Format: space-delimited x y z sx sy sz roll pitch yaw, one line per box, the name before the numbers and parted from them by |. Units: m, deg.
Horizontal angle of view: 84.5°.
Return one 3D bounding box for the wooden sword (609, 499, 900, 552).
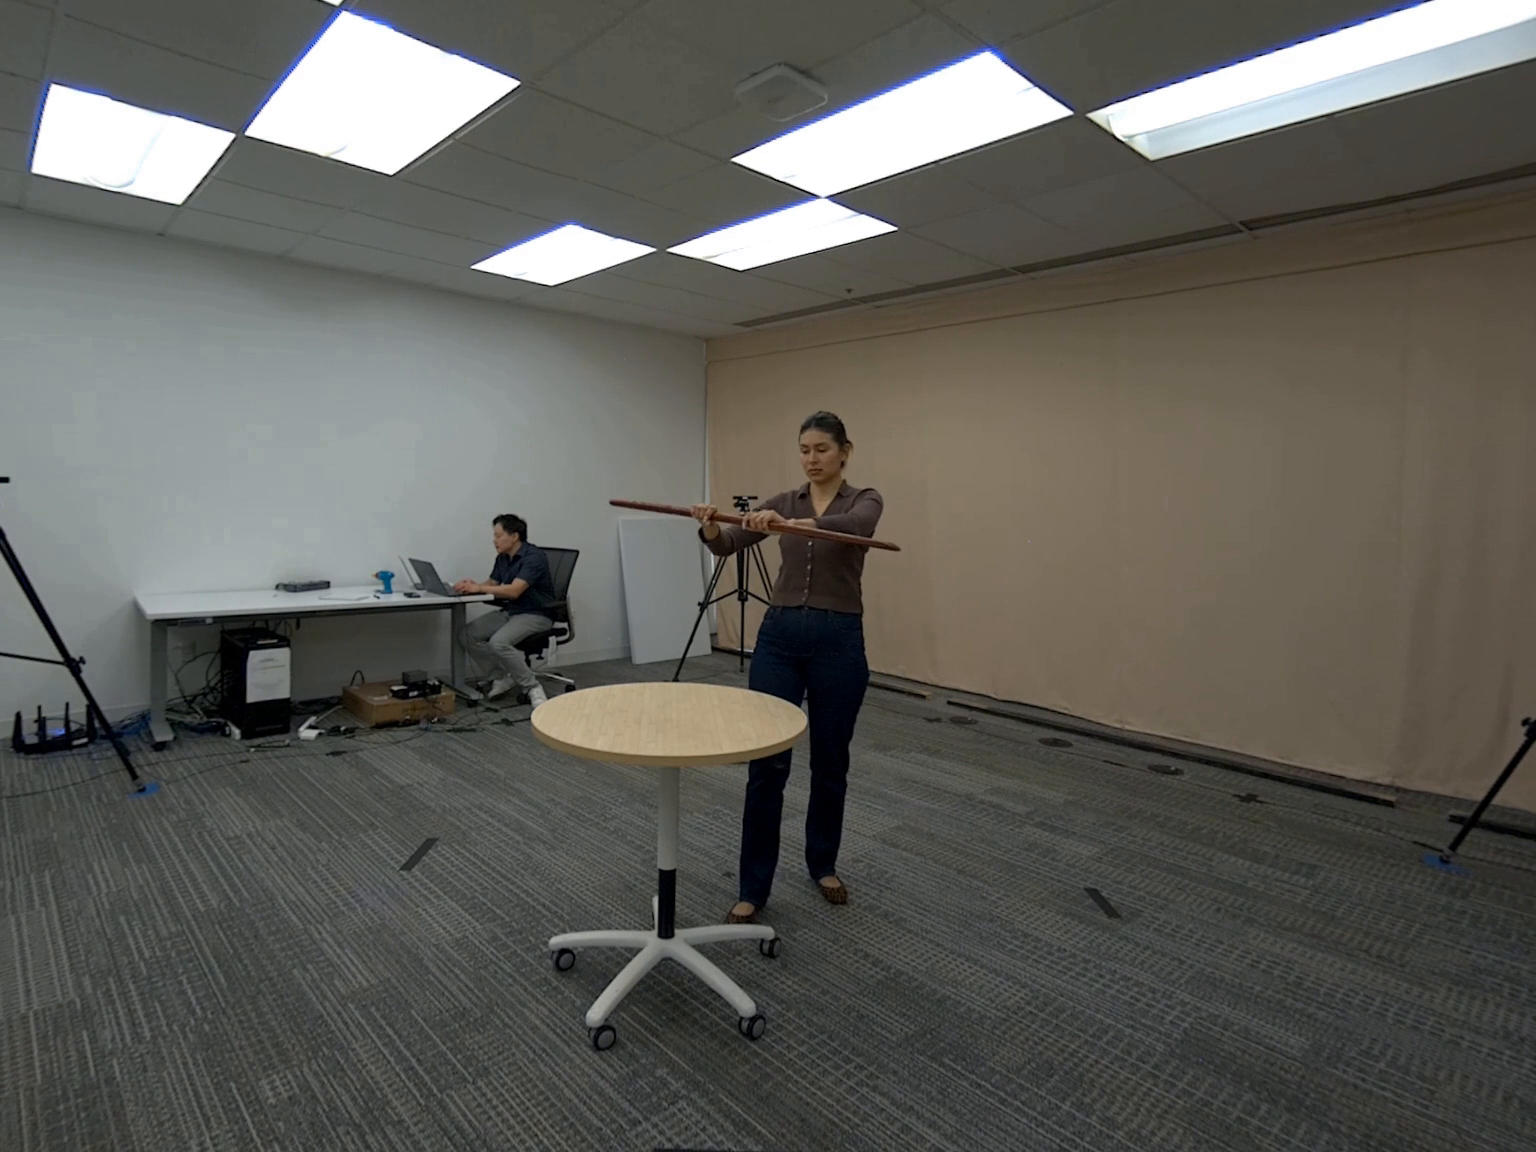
wooden sword | -0.107 -0.160 2.516 1.051 0.051 0.023 12 -9 34
